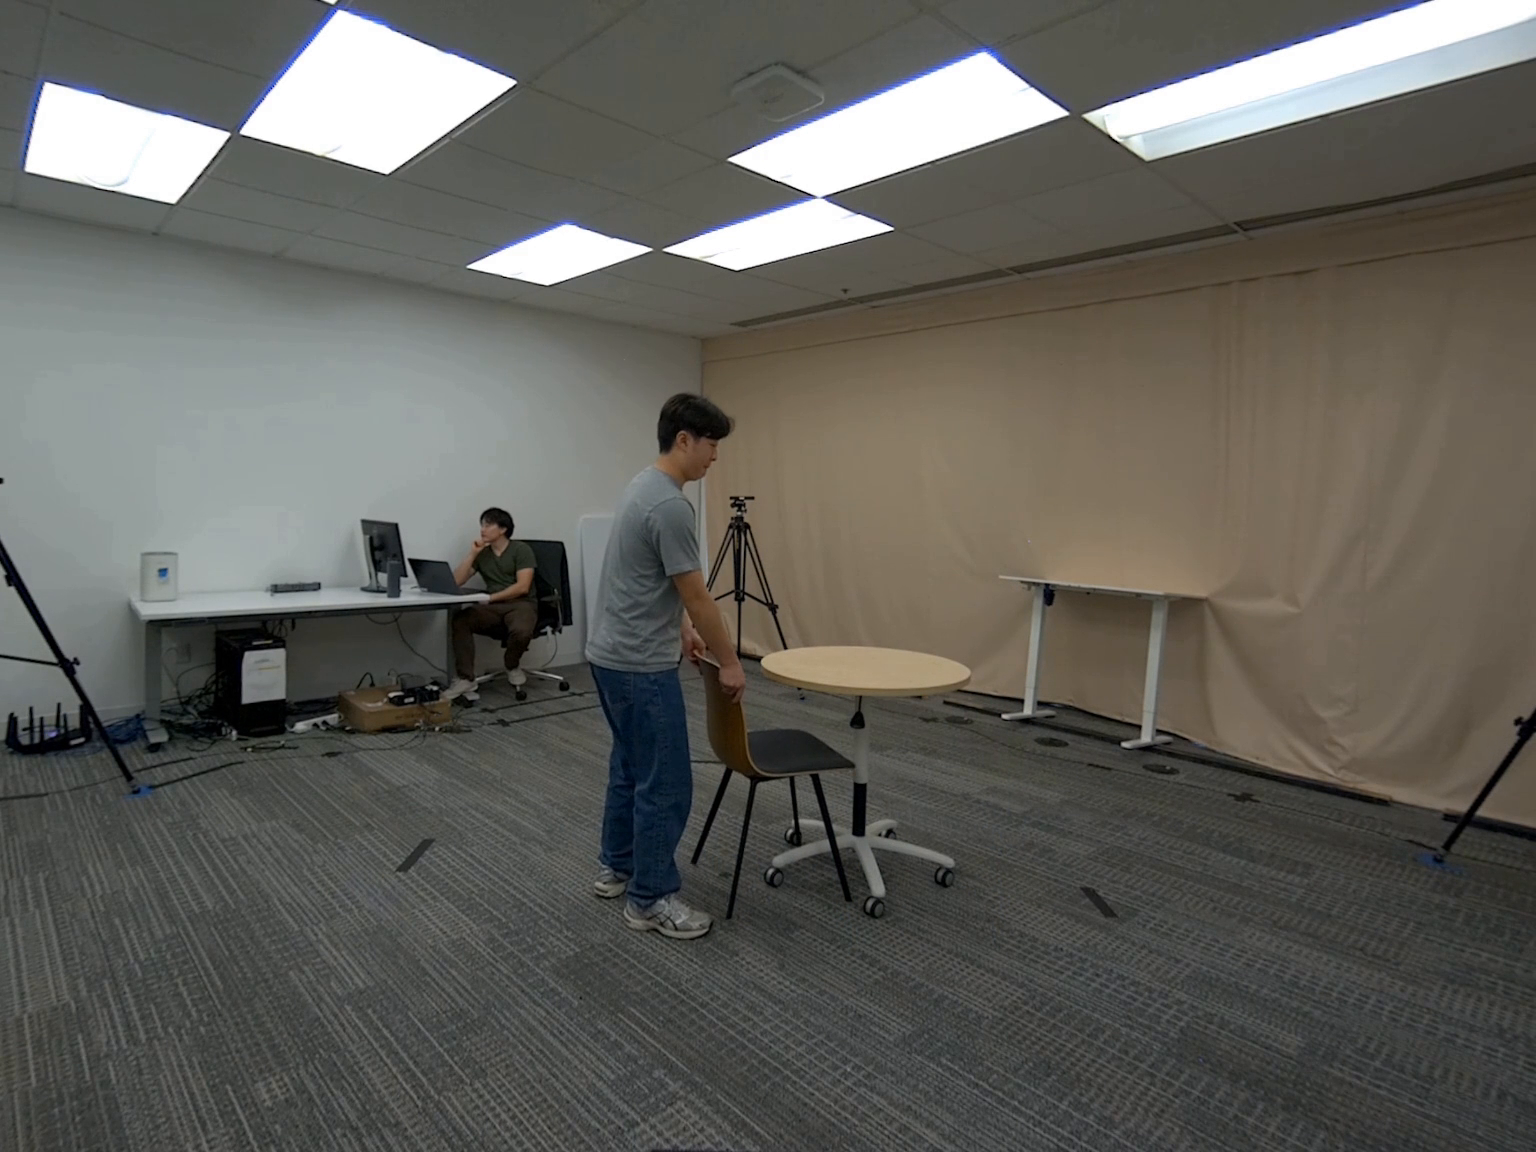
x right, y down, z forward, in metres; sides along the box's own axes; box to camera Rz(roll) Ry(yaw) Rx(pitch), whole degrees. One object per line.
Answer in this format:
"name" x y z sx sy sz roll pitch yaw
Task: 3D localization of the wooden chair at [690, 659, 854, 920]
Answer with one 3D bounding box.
"wooden chair" 0.008 0.684 3.024 0.516 0.874 0.486 -4 5 -19
